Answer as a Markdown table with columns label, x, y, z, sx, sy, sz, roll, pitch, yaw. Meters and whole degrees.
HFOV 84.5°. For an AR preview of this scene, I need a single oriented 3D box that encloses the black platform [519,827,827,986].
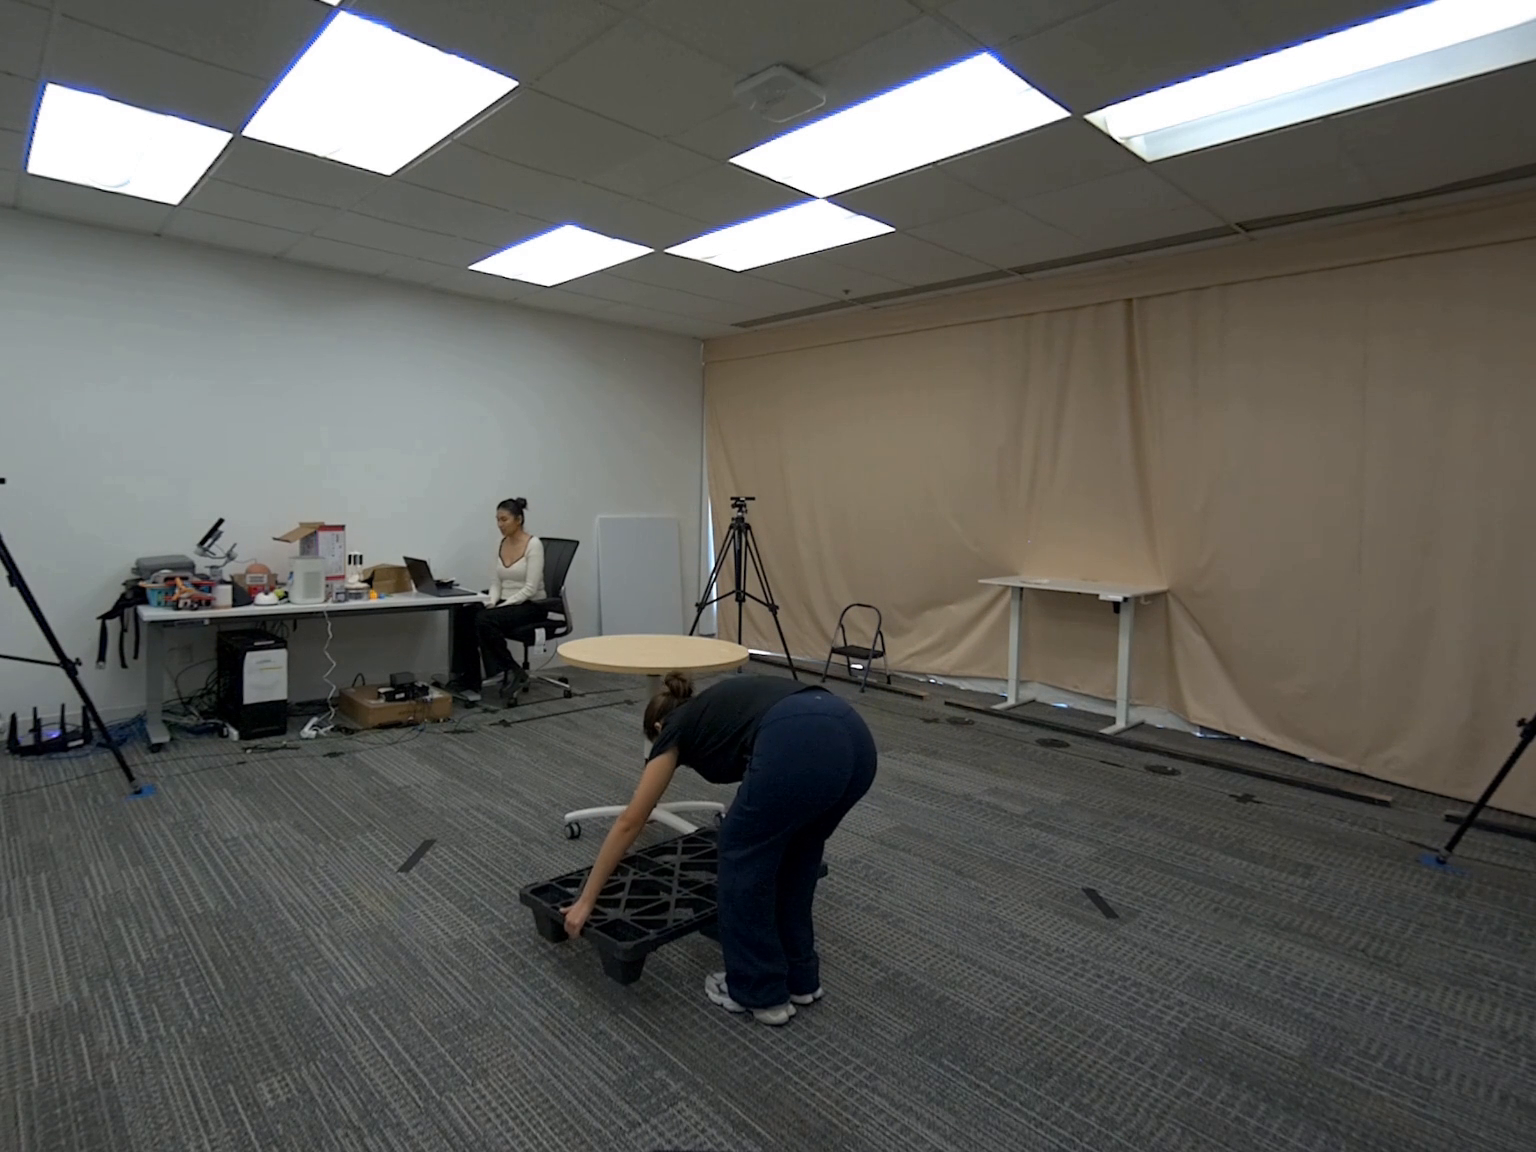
| label | x | y | z | sx | sy | sz | roll | pitch | yaw |
| --- | --- | --- | --- | --- | --- | --- | --- | --- | --- |
| black platform | -0.285 | 1.024 | 2.657 | 0.788 | 0.143 | 0.619 | -5 | 3 | -43 |
